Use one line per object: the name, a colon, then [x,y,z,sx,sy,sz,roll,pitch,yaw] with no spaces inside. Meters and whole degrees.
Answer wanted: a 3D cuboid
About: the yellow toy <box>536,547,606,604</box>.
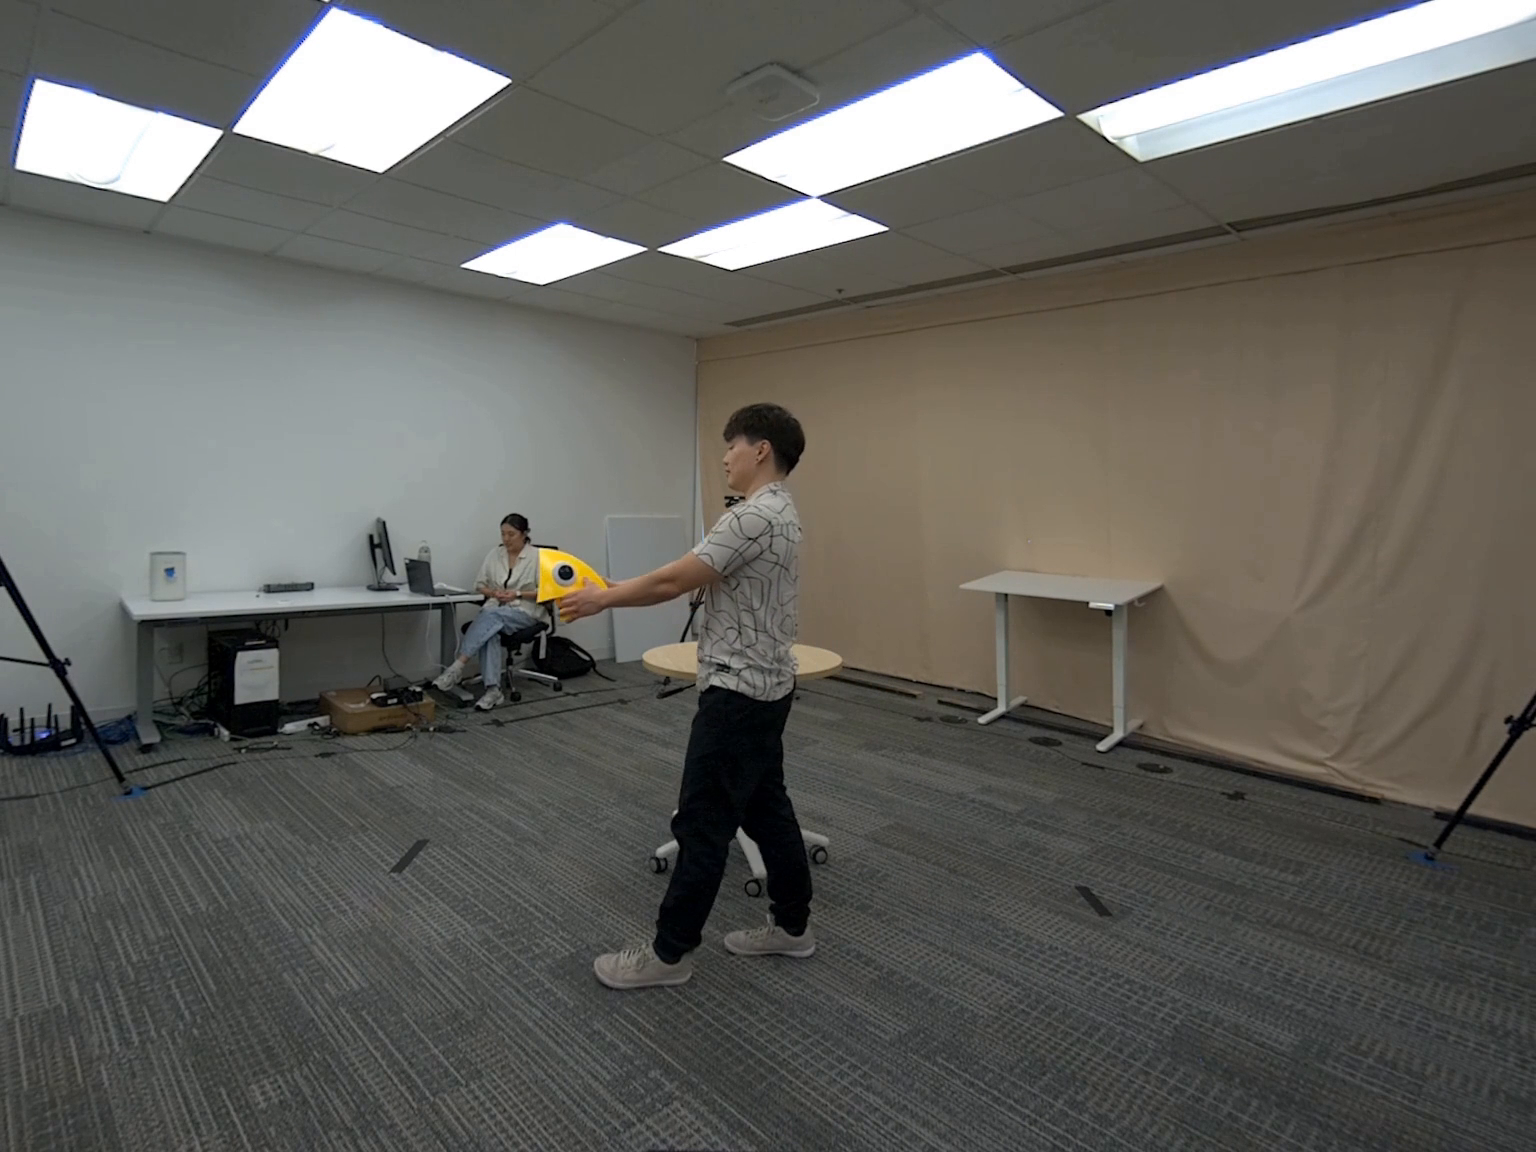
yellow toy: [-0.602,-0.001,2.565,0.194,0.231,0.204,-22,0,10]
